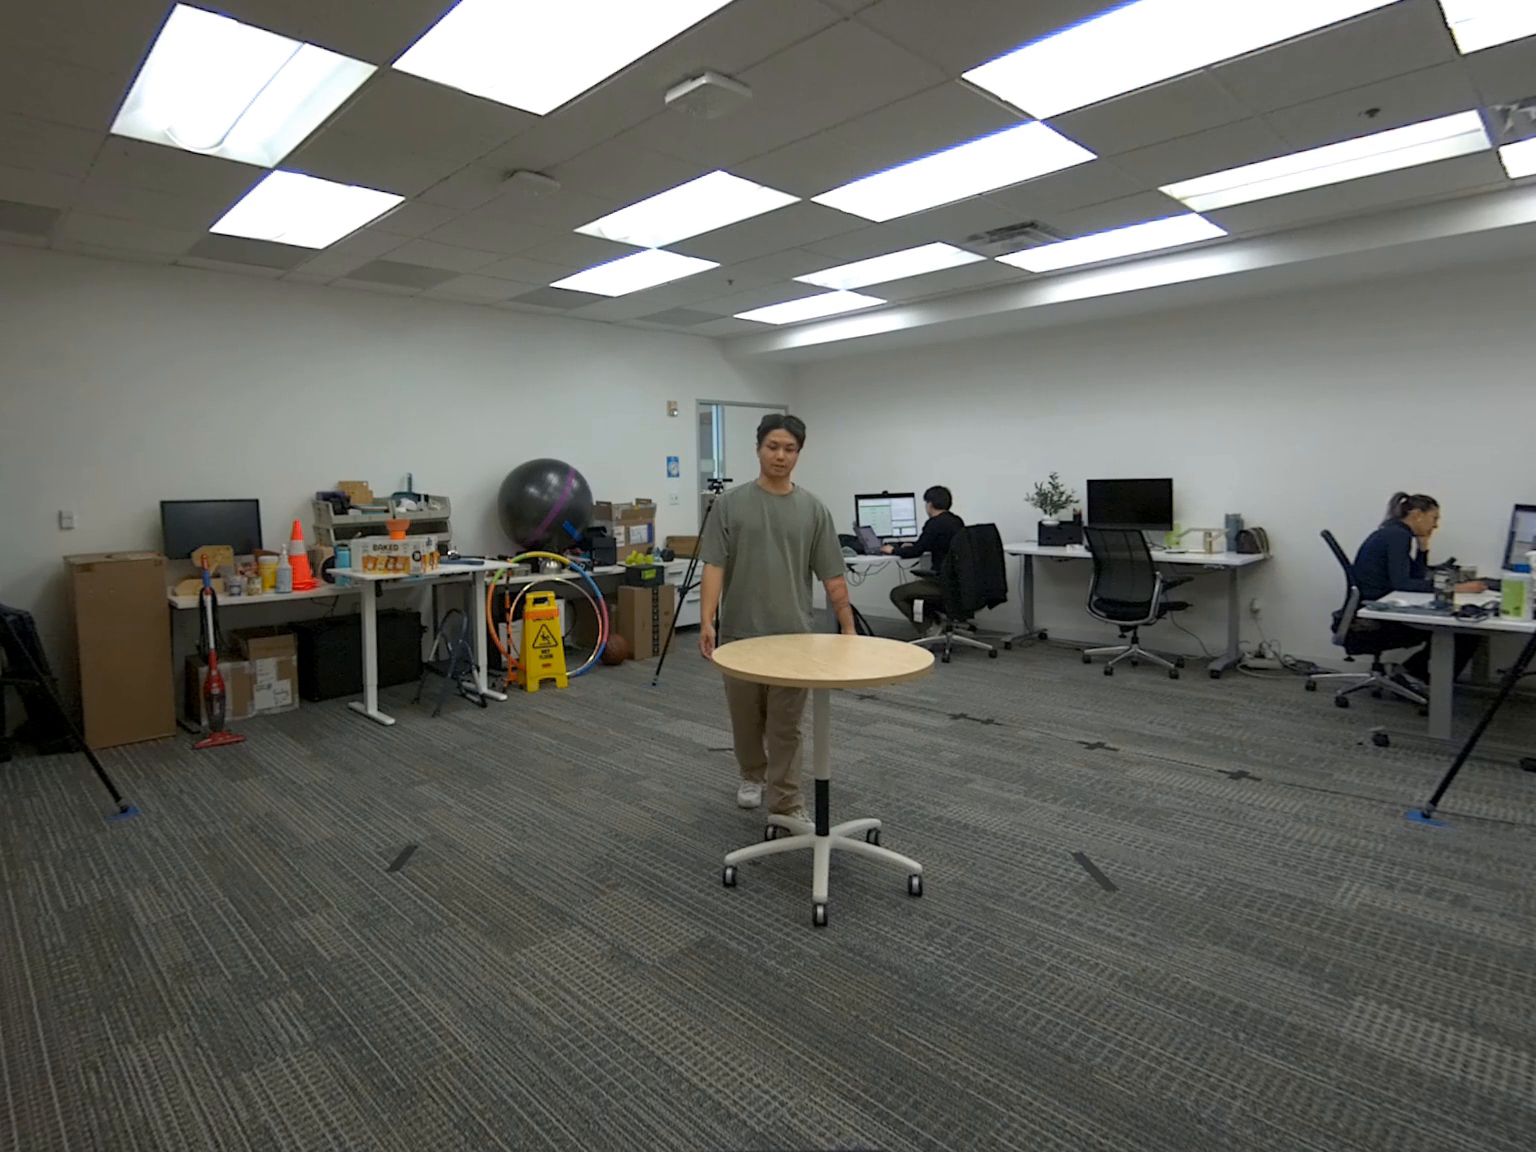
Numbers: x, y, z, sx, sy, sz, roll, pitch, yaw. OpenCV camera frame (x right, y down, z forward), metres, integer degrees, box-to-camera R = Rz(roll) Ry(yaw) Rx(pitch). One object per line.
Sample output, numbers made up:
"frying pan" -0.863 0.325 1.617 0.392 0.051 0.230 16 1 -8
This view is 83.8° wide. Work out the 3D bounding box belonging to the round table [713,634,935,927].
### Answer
"round table" 0.197 0.665 2.982 0.784 0.783 0.789 -1 5 -2
